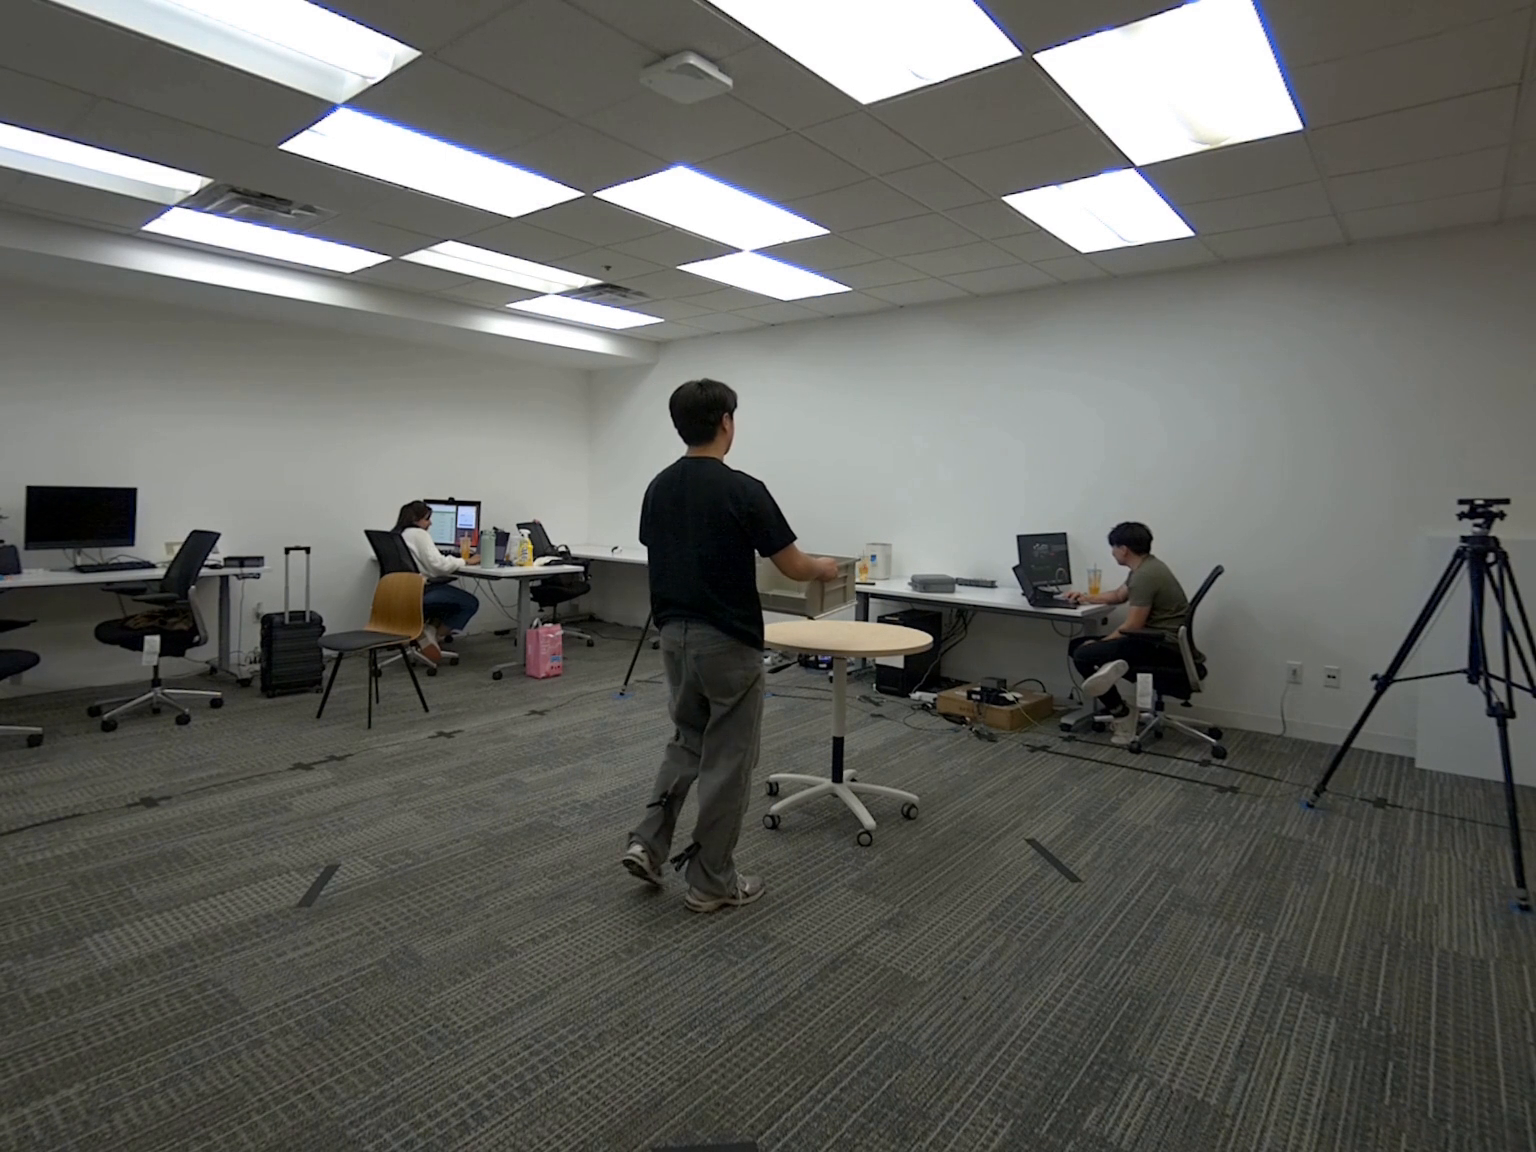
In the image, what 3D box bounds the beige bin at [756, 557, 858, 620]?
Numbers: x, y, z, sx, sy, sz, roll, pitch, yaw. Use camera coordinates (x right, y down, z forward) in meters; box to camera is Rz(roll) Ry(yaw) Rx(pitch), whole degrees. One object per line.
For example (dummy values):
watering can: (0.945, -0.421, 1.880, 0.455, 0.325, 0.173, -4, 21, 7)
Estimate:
beige bin: (0.064, 0.031, 3.239, 0.436, 0.188, 0.367, 6, 9, 39)
